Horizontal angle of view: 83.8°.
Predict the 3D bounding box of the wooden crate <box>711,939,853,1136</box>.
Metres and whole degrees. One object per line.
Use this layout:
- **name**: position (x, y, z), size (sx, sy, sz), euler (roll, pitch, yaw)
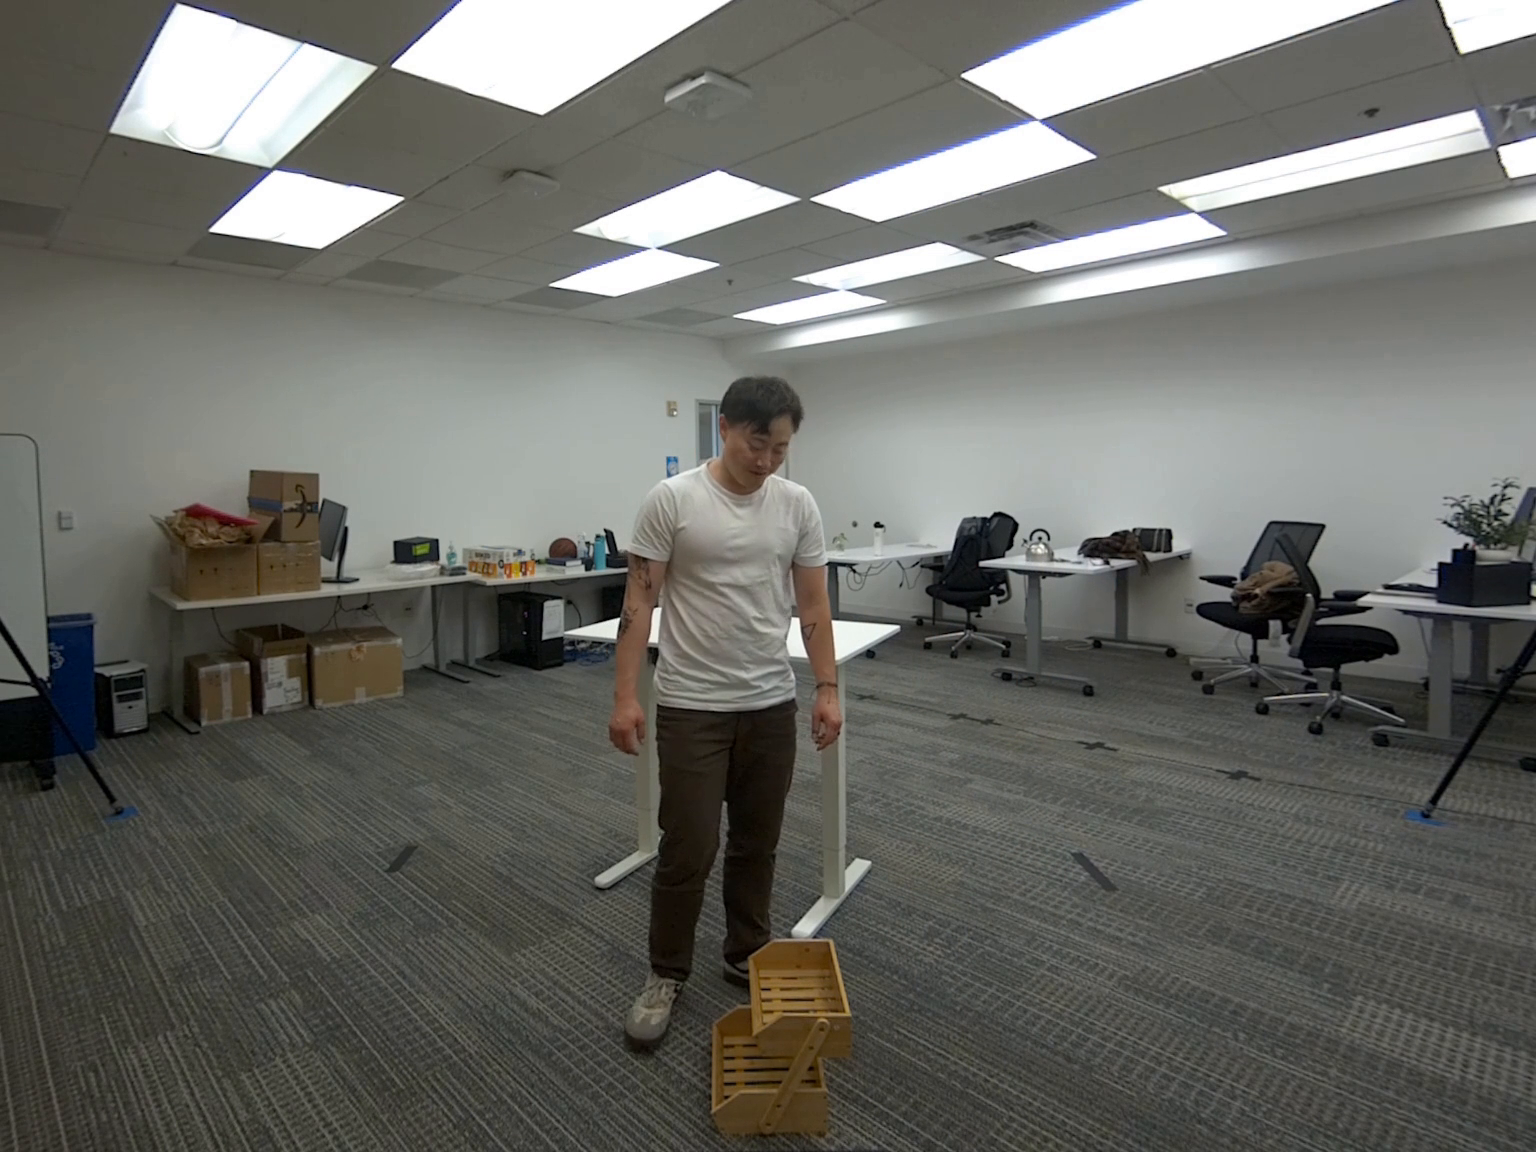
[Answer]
- **wooden crate**: position (0.024, 1.047, 1.963), size (0.301, 0.272, 0.327), euler (-1, 6, -3)
